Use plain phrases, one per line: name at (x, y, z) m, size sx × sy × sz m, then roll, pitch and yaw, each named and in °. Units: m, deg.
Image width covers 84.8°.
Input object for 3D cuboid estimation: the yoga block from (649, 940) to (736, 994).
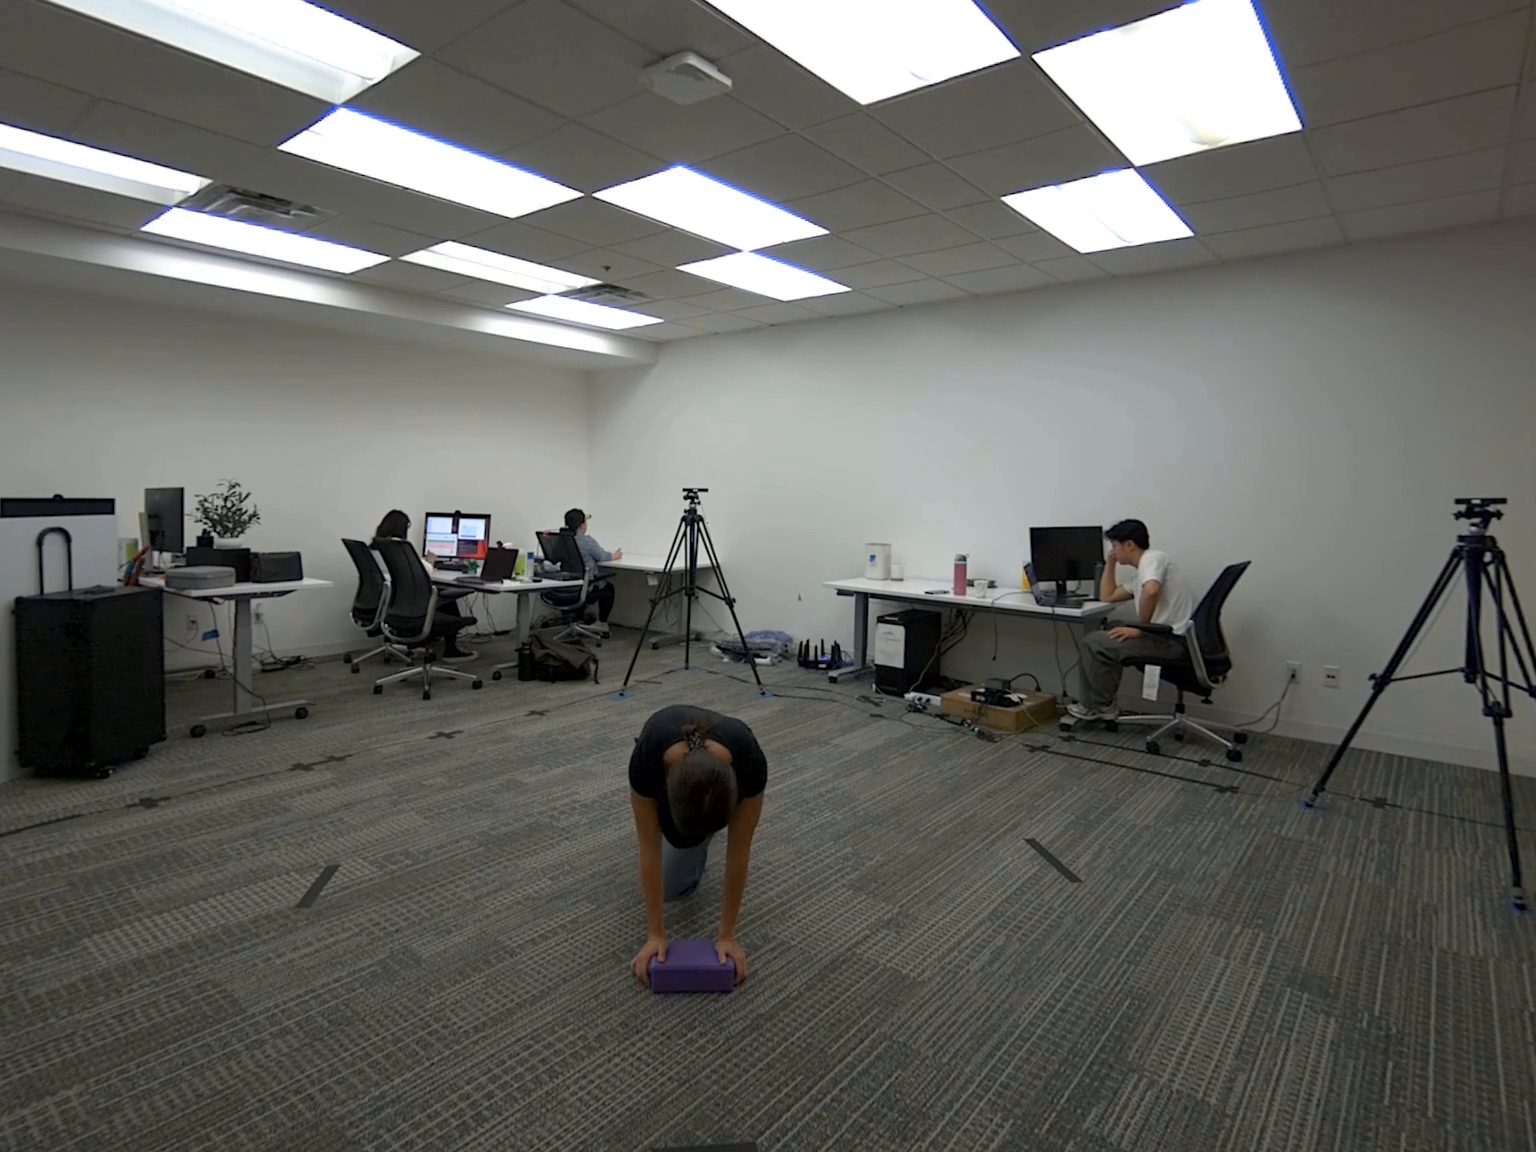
yoga block at (-0.216, 1.099, 2.408) m, size 0.228 × 0.076 × 0.150 m, roll 2°, pitch 3°, yaw -5°
